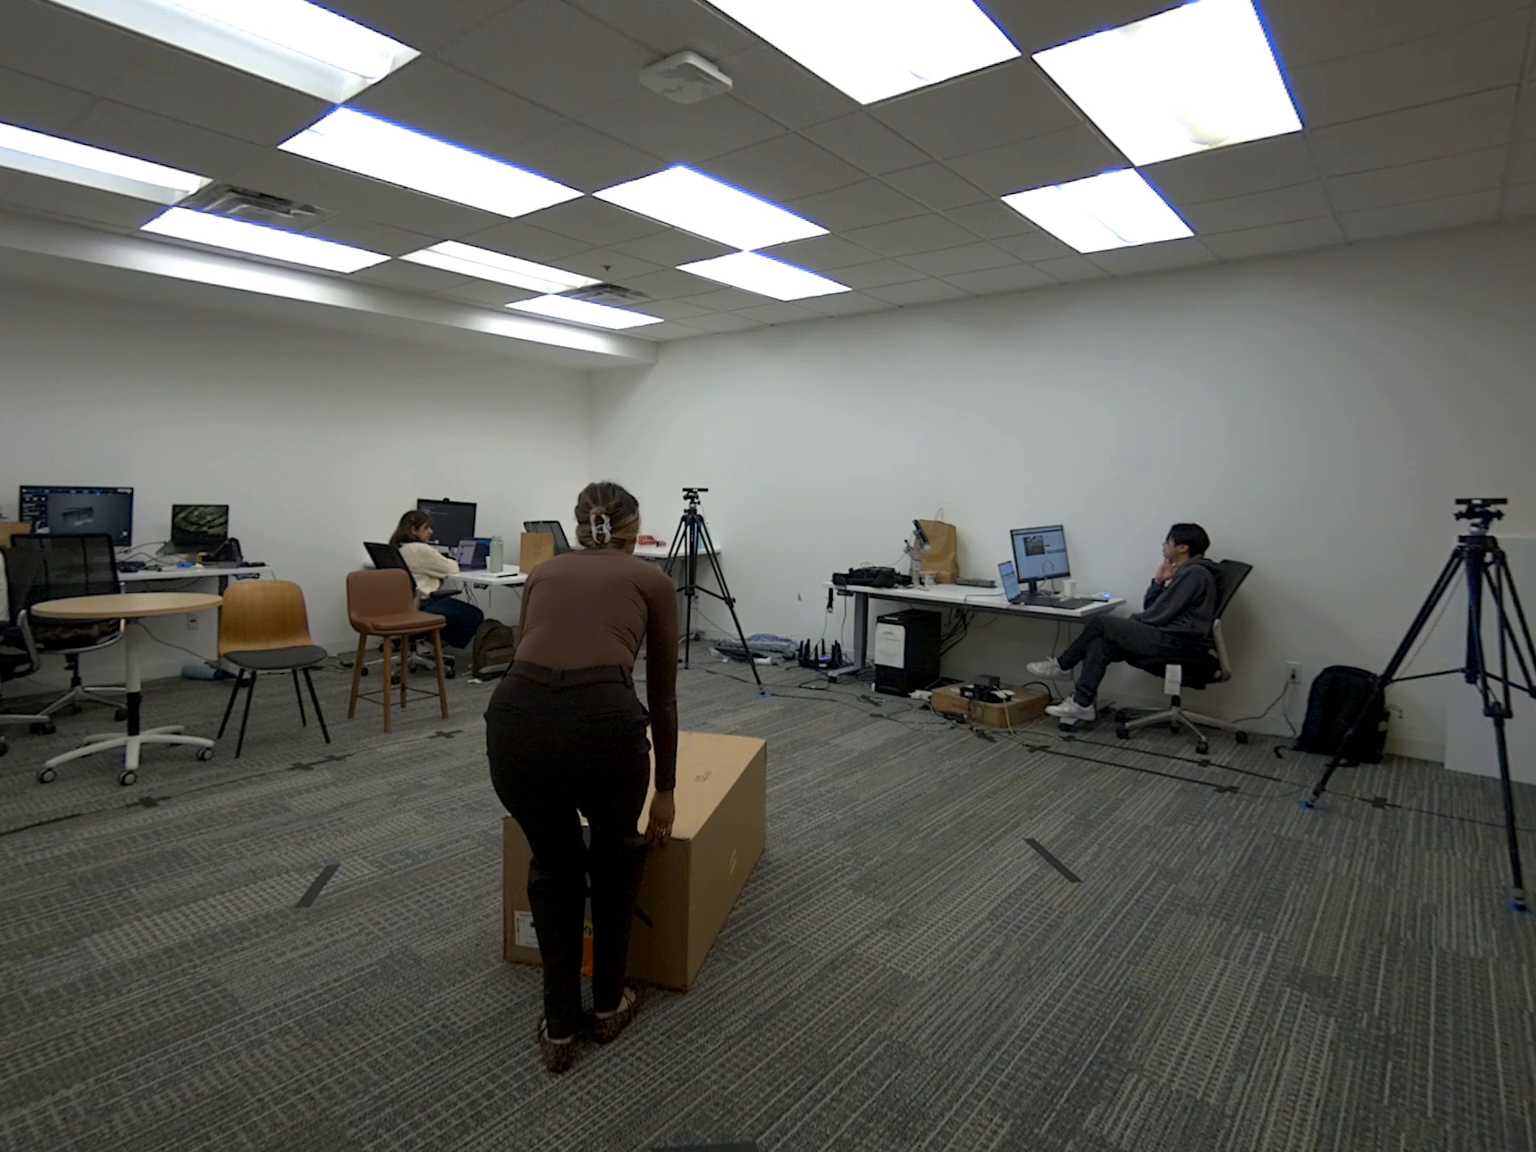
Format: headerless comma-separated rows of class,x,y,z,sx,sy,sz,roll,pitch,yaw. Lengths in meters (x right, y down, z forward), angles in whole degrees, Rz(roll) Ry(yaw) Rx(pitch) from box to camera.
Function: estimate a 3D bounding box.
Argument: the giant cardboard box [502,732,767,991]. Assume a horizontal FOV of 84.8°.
giant cardboard box,-0.399,0.877,2.886,0.593,0.445,1.015,3,6,13
